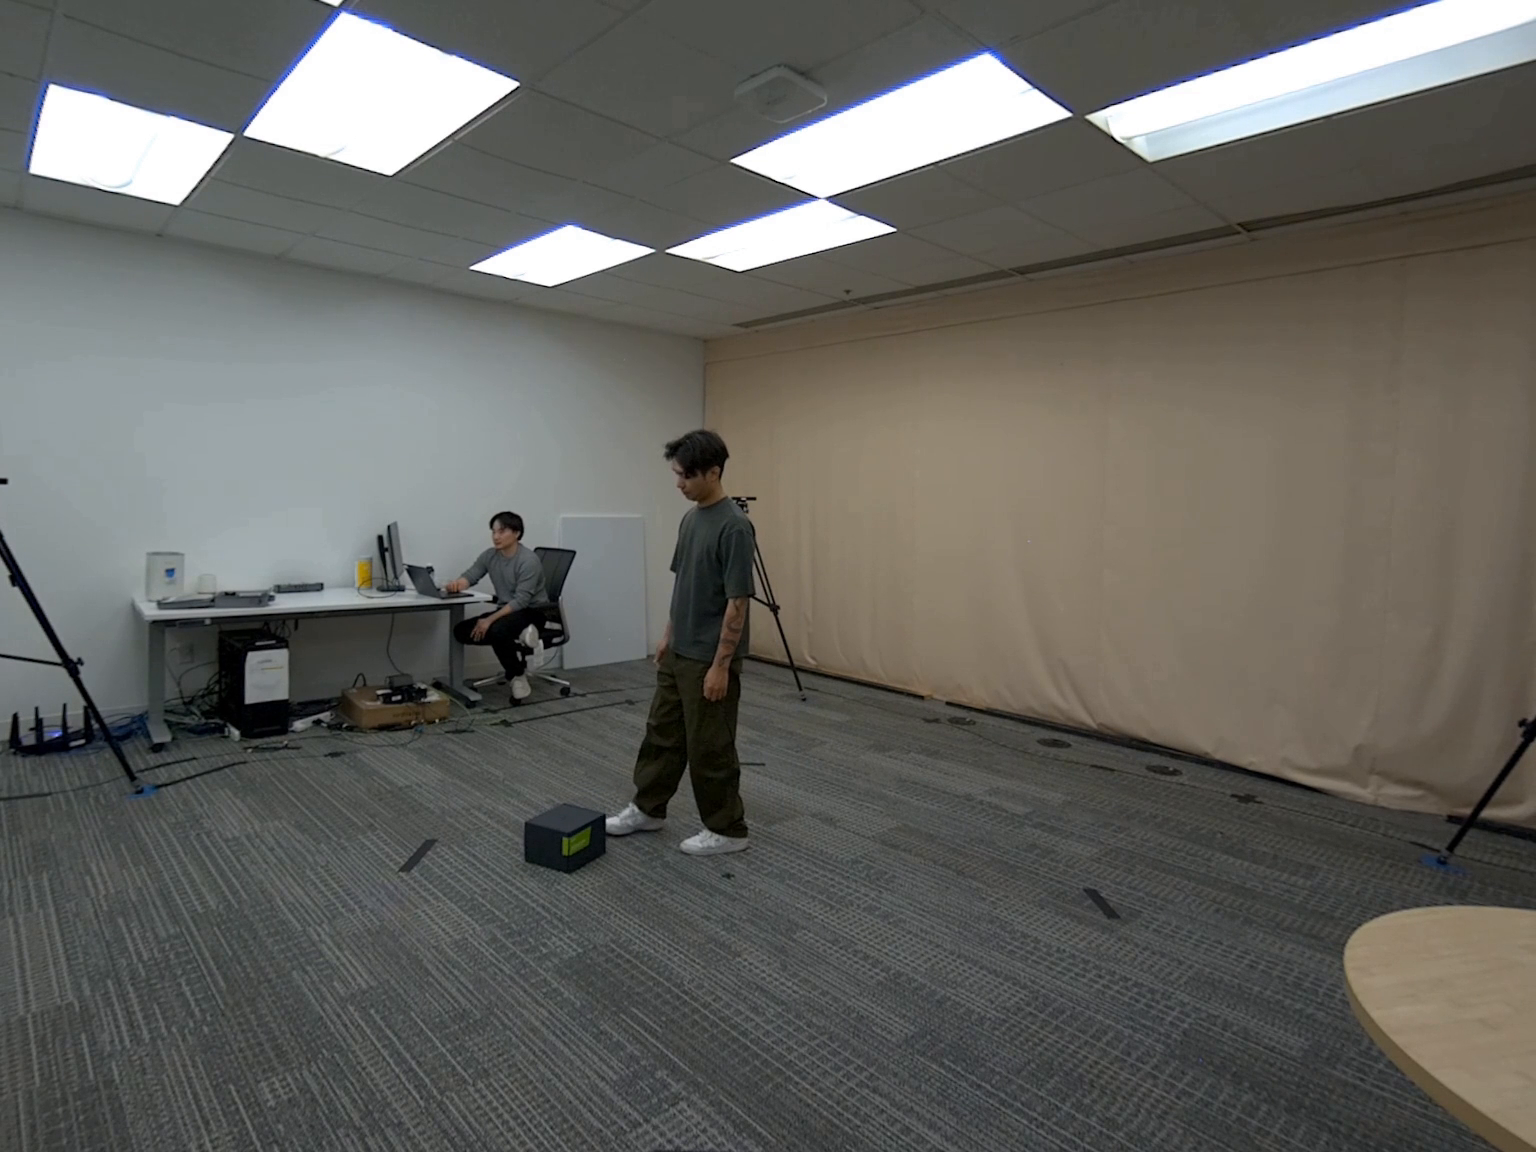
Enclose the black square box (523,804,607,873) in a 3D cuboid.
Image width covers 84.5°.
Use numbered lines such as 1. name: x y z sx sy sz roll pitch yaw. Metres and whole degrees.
1. black square box: -0.780 0.996 3.224 0.221 0.155 0.224 4 4 26
